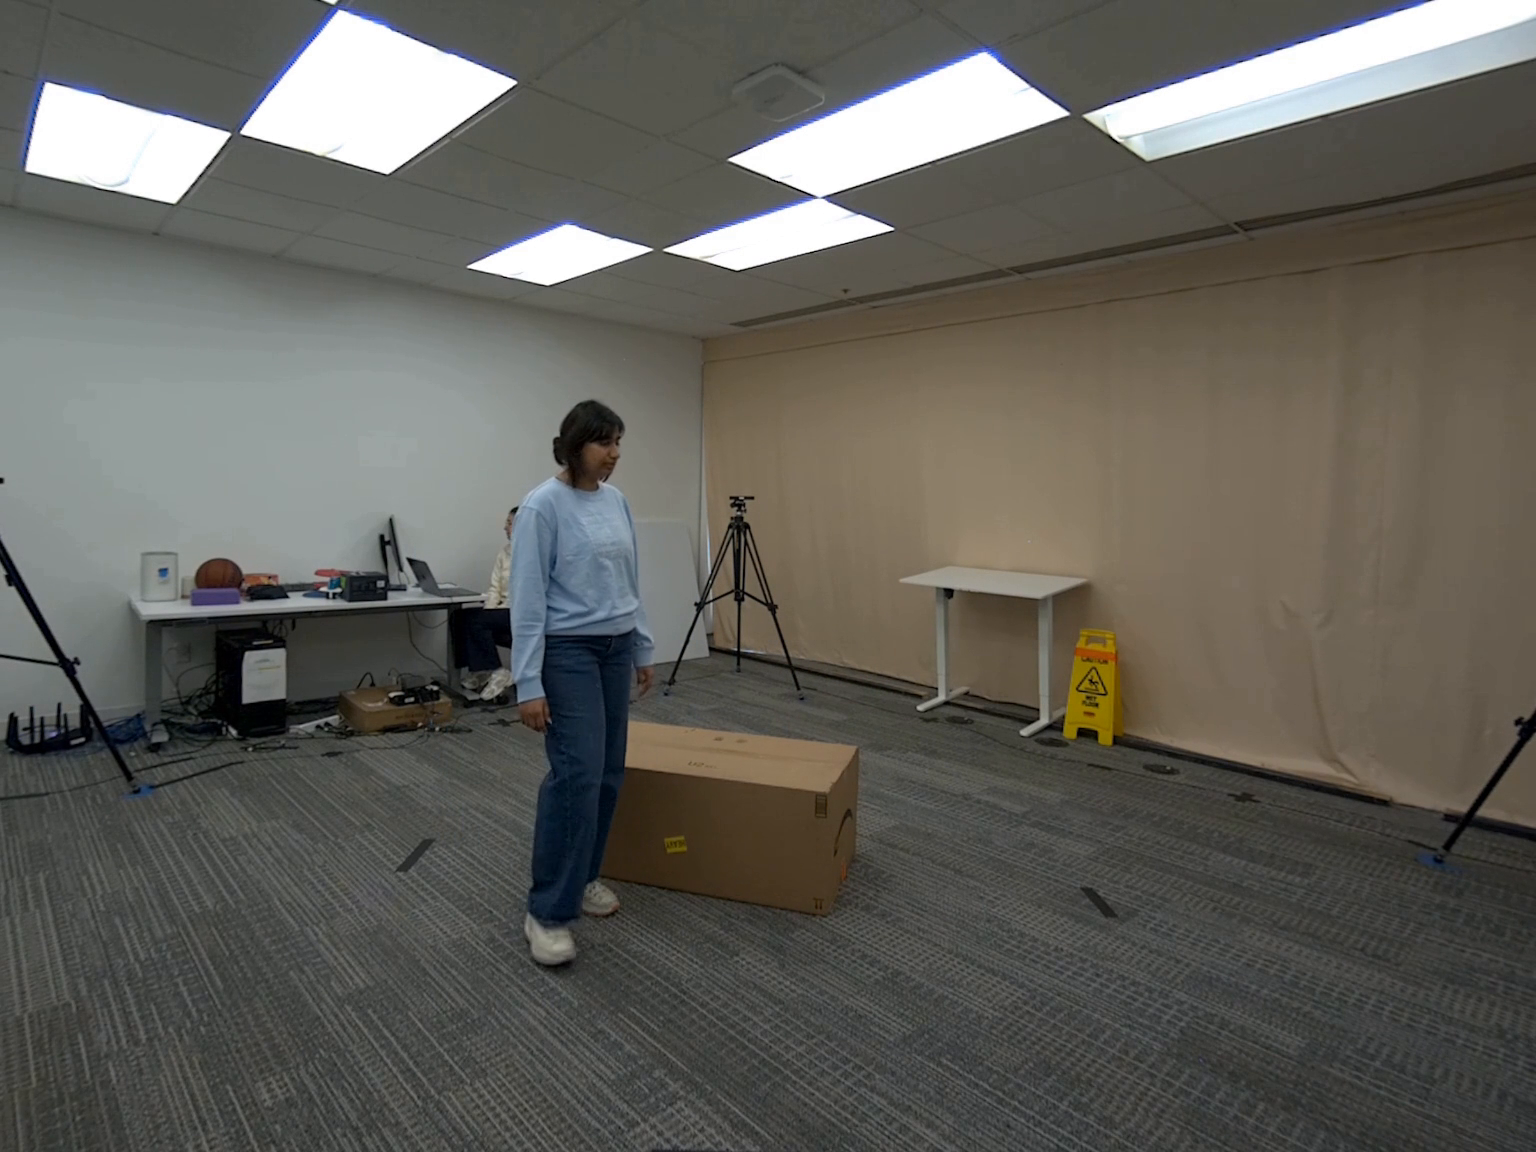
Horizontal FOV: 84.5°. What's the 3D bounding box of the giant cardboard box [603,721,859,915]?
[{"bbox_3d":[-0.213,0.876,3.217,1.041,0.425,0.571,3,5,18],"label":"giant cardboard box"}]
